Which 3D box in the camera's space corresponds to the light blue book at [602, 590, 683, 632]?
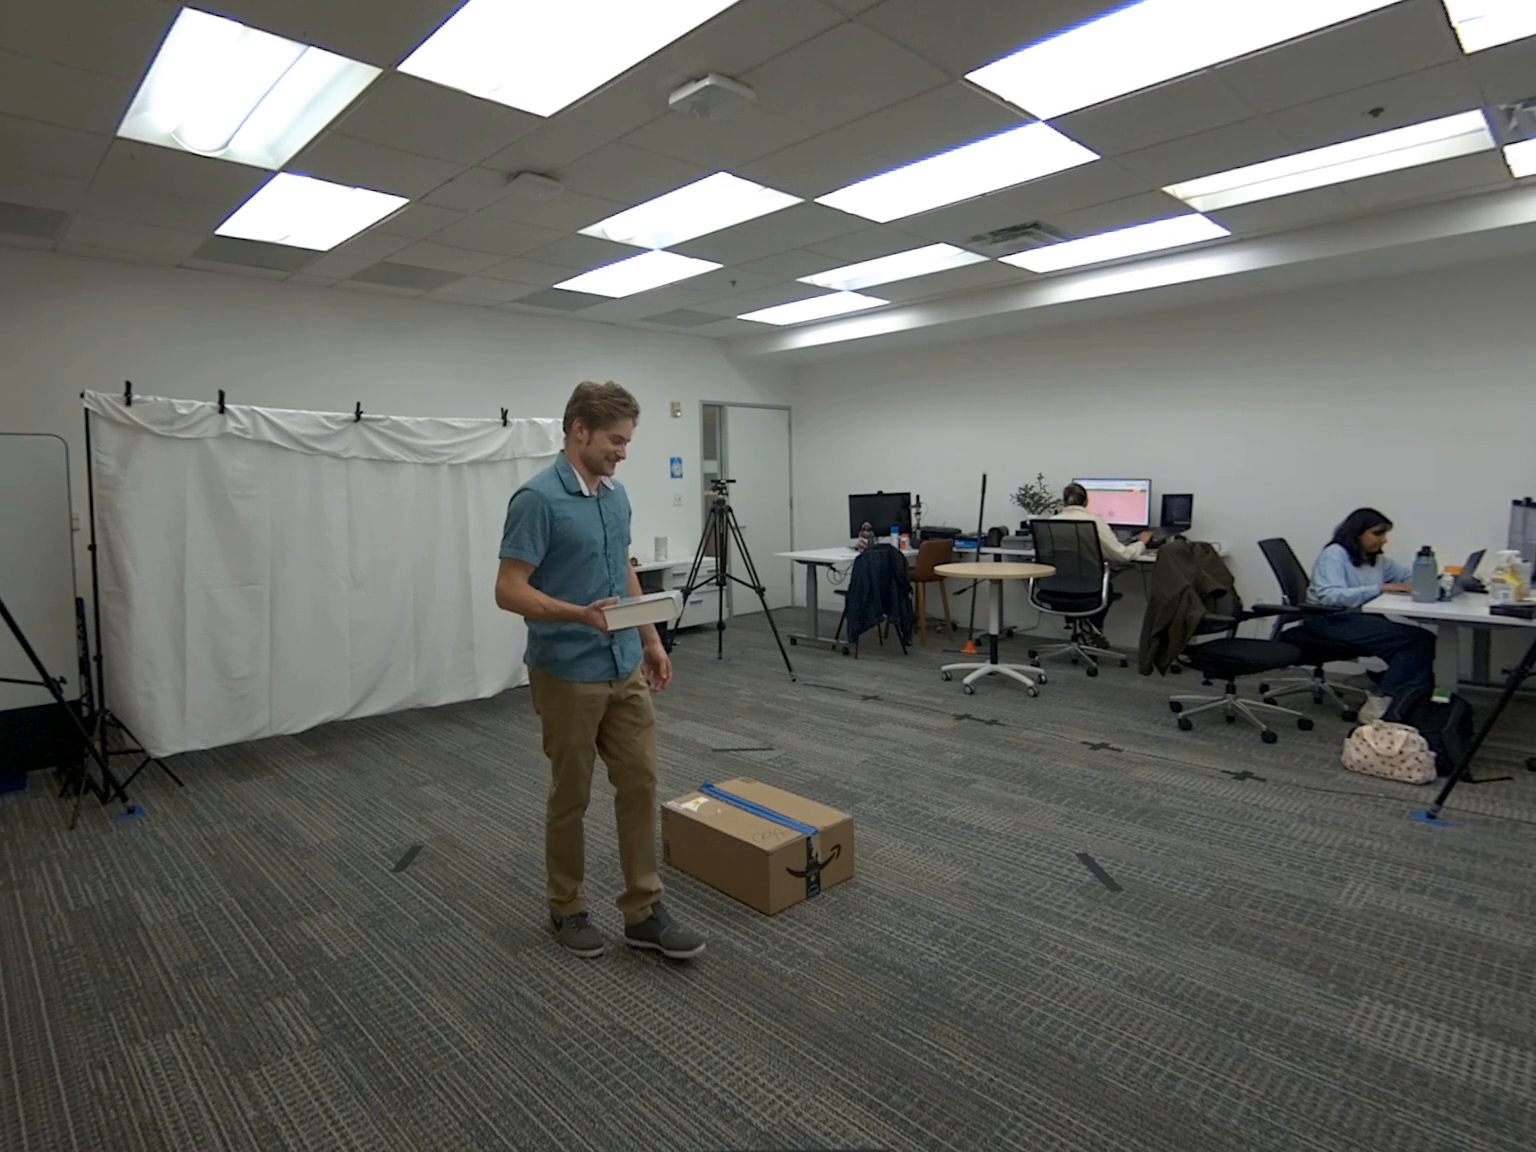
[{"bbox_3d":[-0.322,0.090,2.245,0.191,0.059,0.262,-9,3,-3],"label":"light blue book"}]
